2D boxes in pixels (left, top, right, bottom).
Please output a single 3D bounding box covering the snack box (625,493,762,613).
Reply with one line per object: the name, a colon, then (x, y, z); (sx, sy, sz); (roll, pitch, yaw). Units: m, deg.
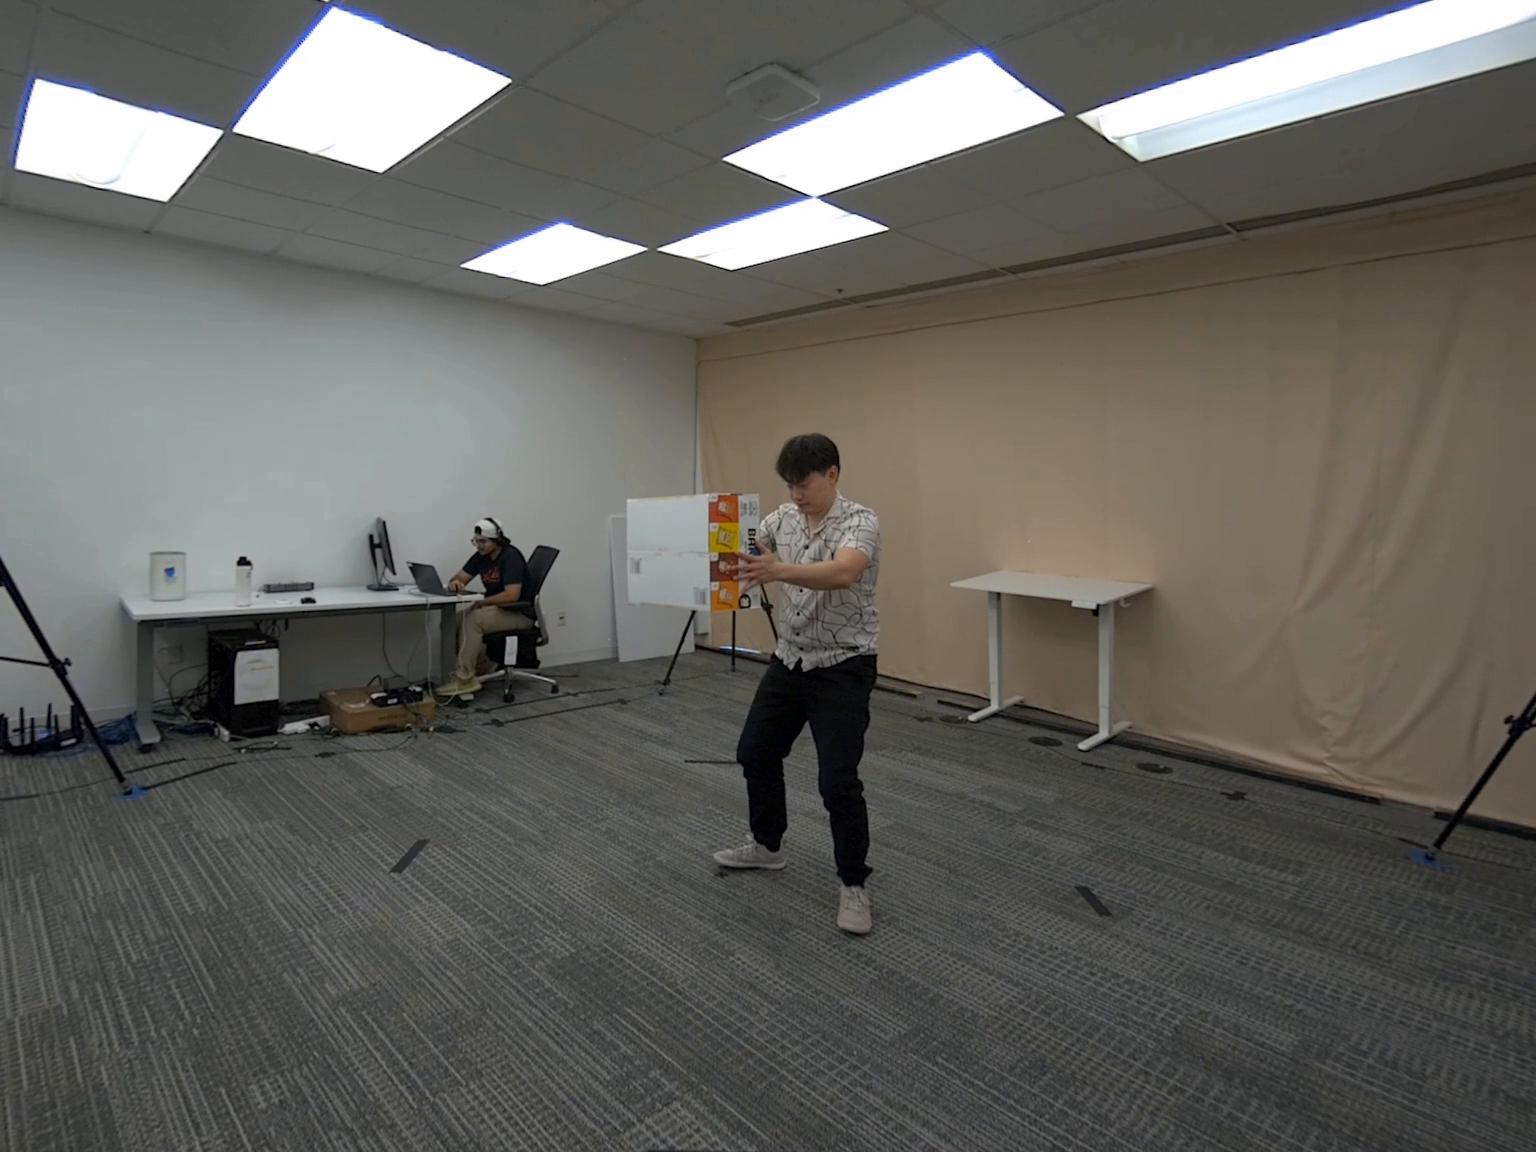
snack box: (-0.242, -0.070, 2.586); (0.201, 0.340, 0.415); (-1, 1, -44)
